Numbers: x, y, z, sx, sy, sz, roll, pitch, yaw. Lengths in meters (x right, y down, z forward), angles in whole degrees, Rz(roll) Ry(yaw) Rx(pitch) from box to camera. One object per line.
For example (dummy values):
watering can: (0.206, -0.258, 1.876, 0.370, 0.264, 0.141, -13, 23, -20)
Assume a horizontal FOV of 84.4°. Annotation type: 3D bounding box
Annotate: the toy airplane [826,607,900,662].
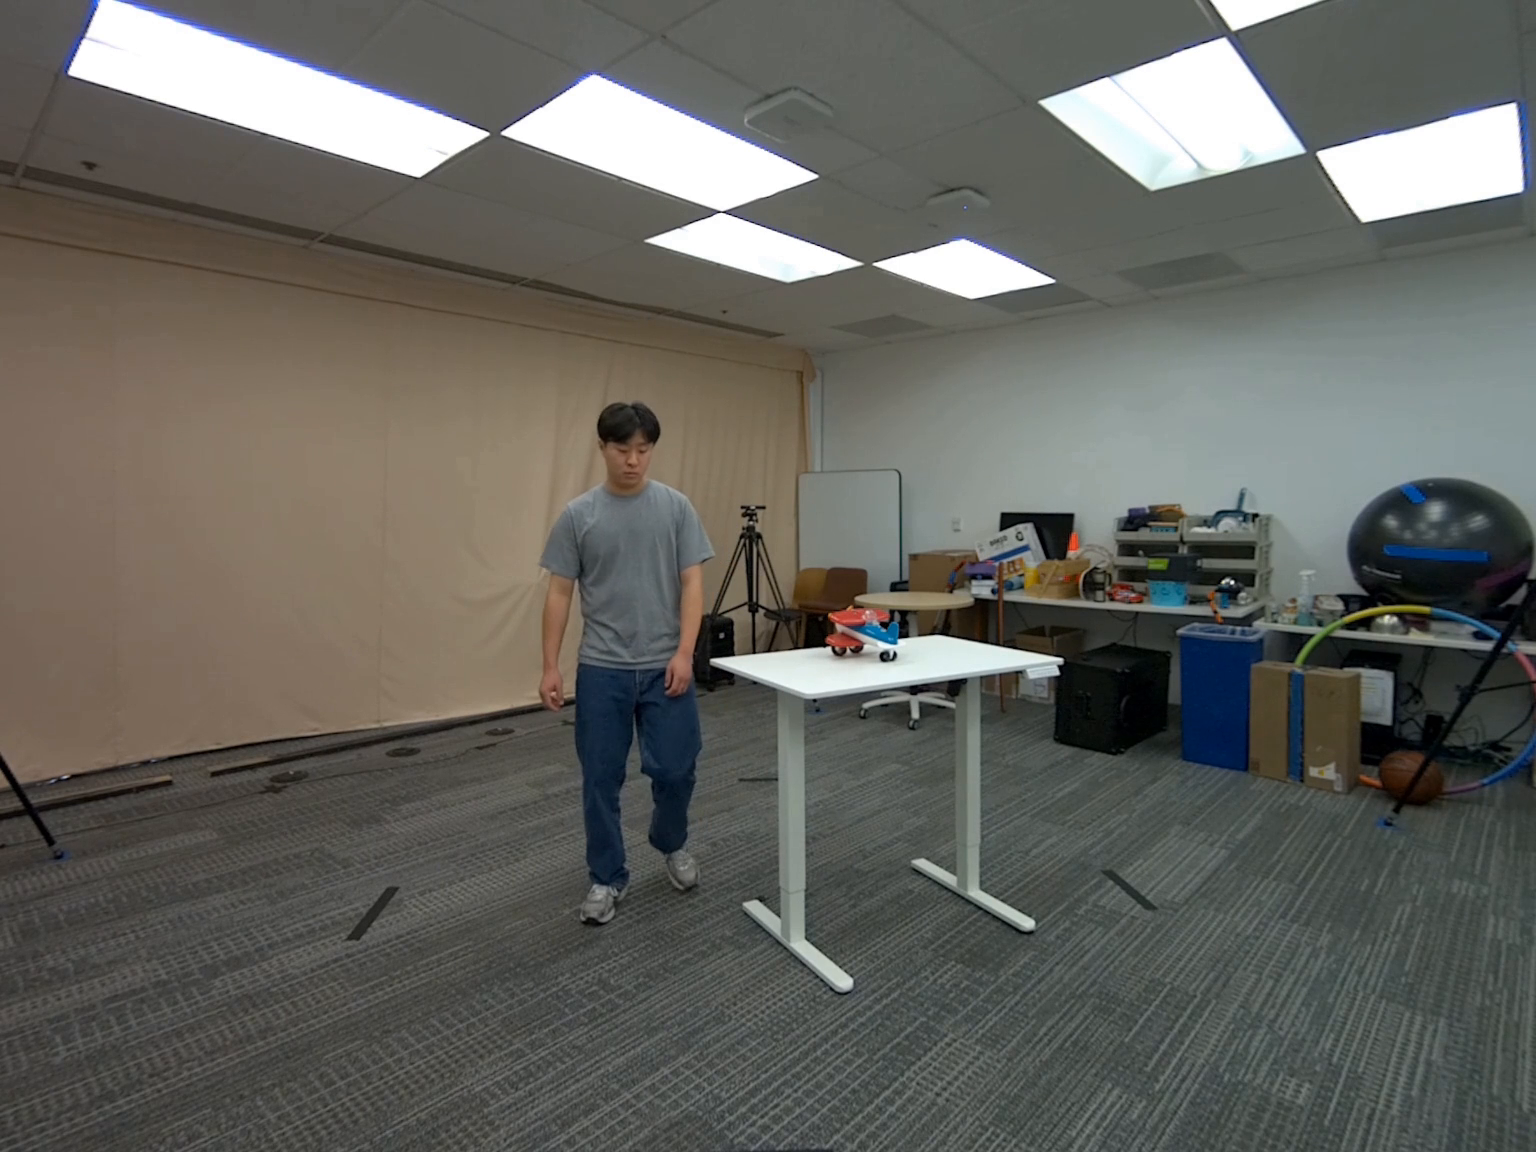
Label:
toy airplane: (0.347, 0.197, 2.819, 0.265, 0.156, 0.246, 0, 5, 21)
